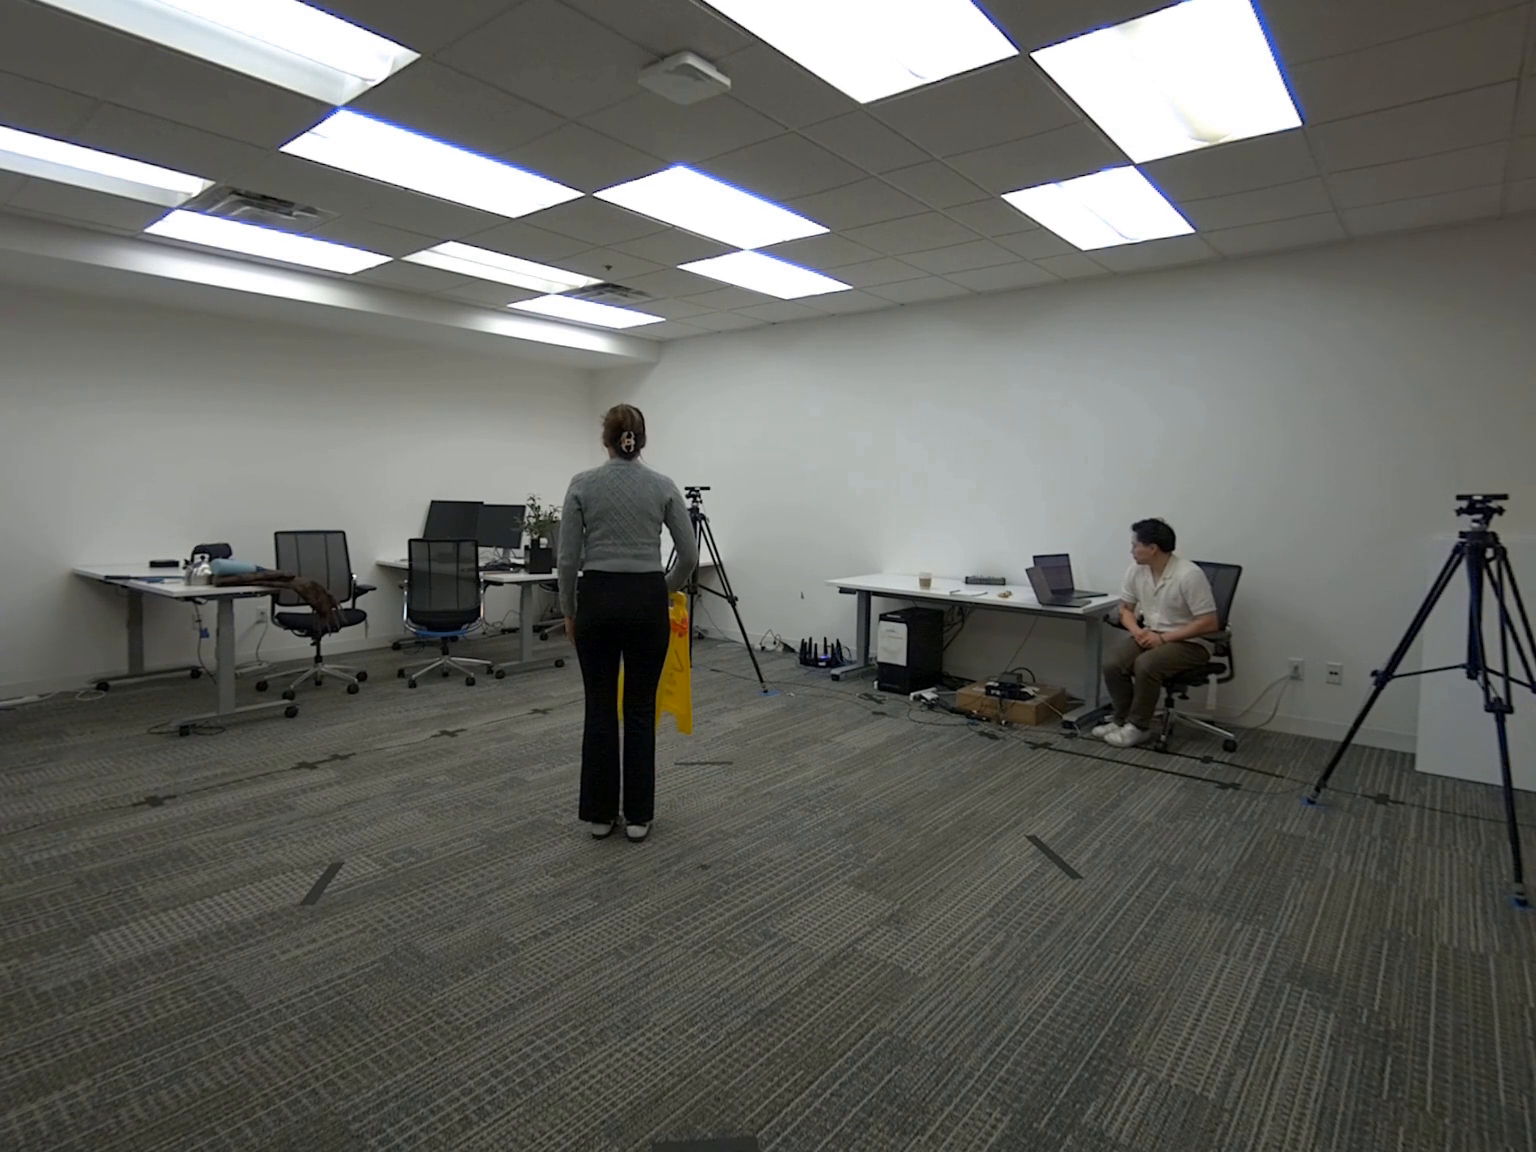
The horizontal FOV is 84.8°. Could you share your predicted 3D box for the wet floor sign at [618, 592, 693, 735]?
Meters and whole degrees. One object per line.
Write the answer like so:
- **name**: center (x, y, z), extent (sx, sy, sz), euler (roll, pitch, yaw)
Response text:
- **wet floor sign**: center (-0.494, 0.371, 3.746), extent (0.292, 0.643, 0.281), euler (14, 6, 33)
